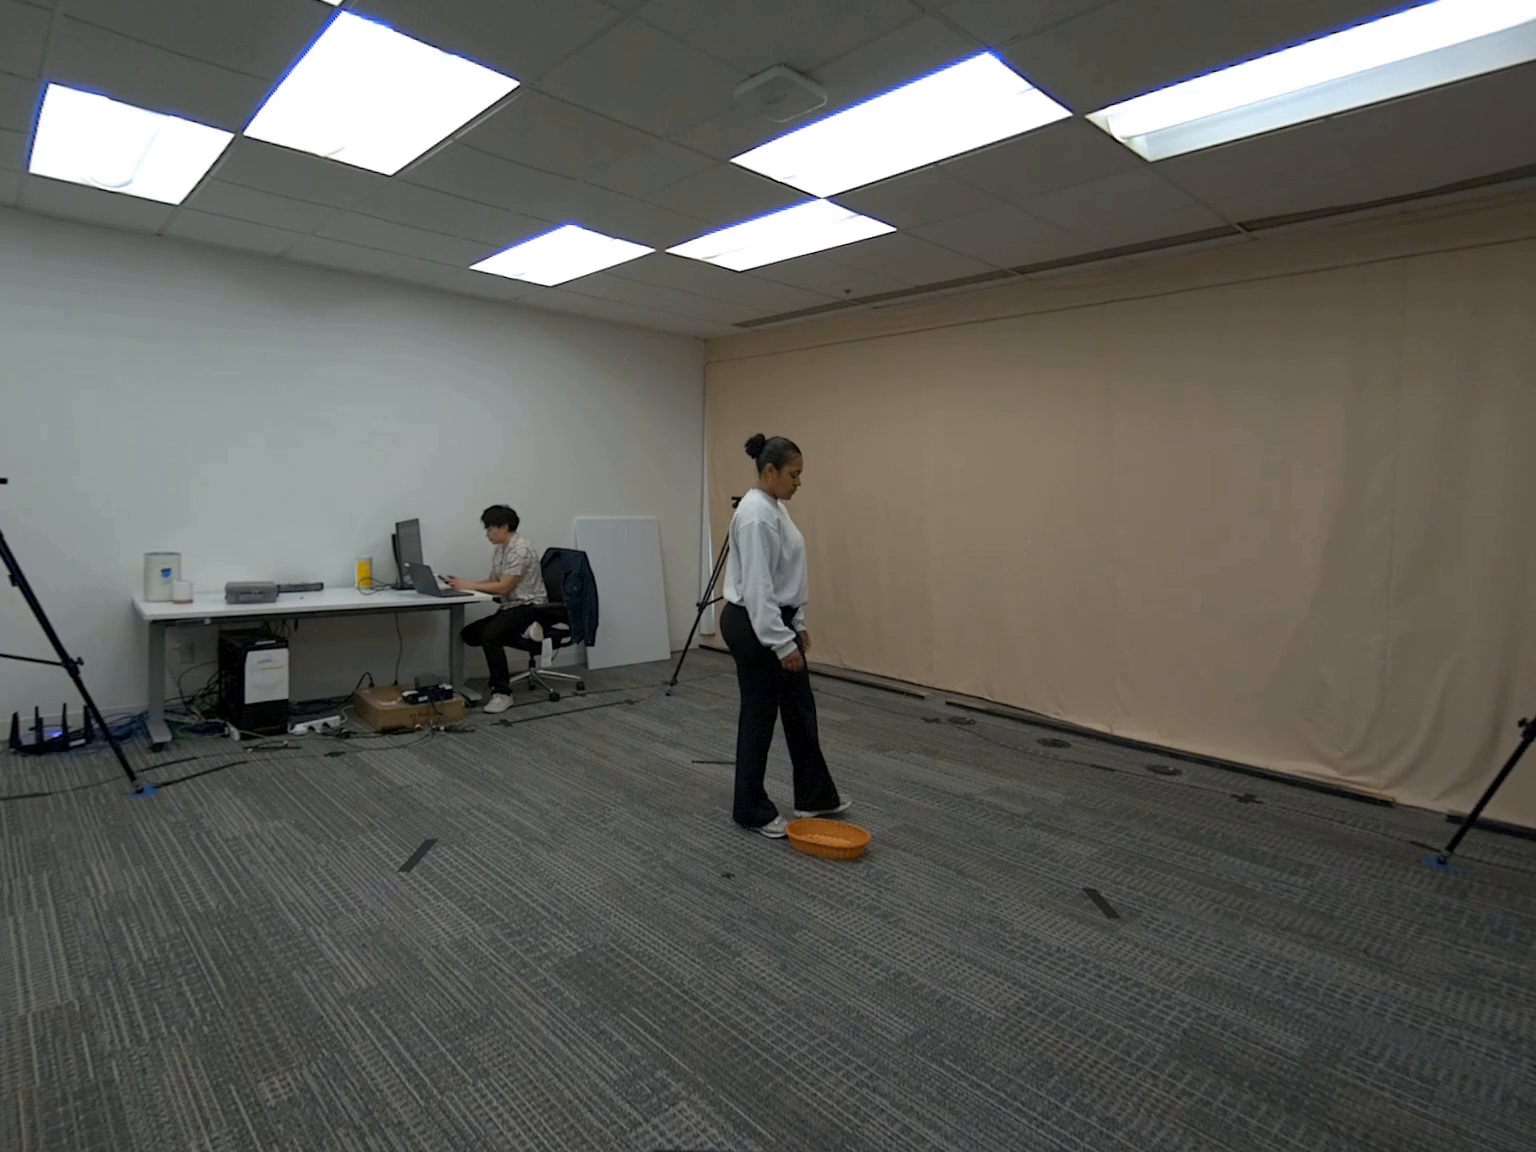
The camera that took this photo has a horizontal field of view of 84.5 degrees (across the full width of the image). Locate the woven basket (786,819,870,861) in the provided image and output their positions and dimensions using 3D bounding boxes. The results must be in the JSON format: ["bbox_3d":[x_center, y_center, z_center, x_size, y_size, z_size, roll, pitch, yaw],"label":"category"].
[{"bbox_3d":[0.226,1.053,3.367,0.357,0.073,0.248,3,4,24],"label":"woven basket"}]
